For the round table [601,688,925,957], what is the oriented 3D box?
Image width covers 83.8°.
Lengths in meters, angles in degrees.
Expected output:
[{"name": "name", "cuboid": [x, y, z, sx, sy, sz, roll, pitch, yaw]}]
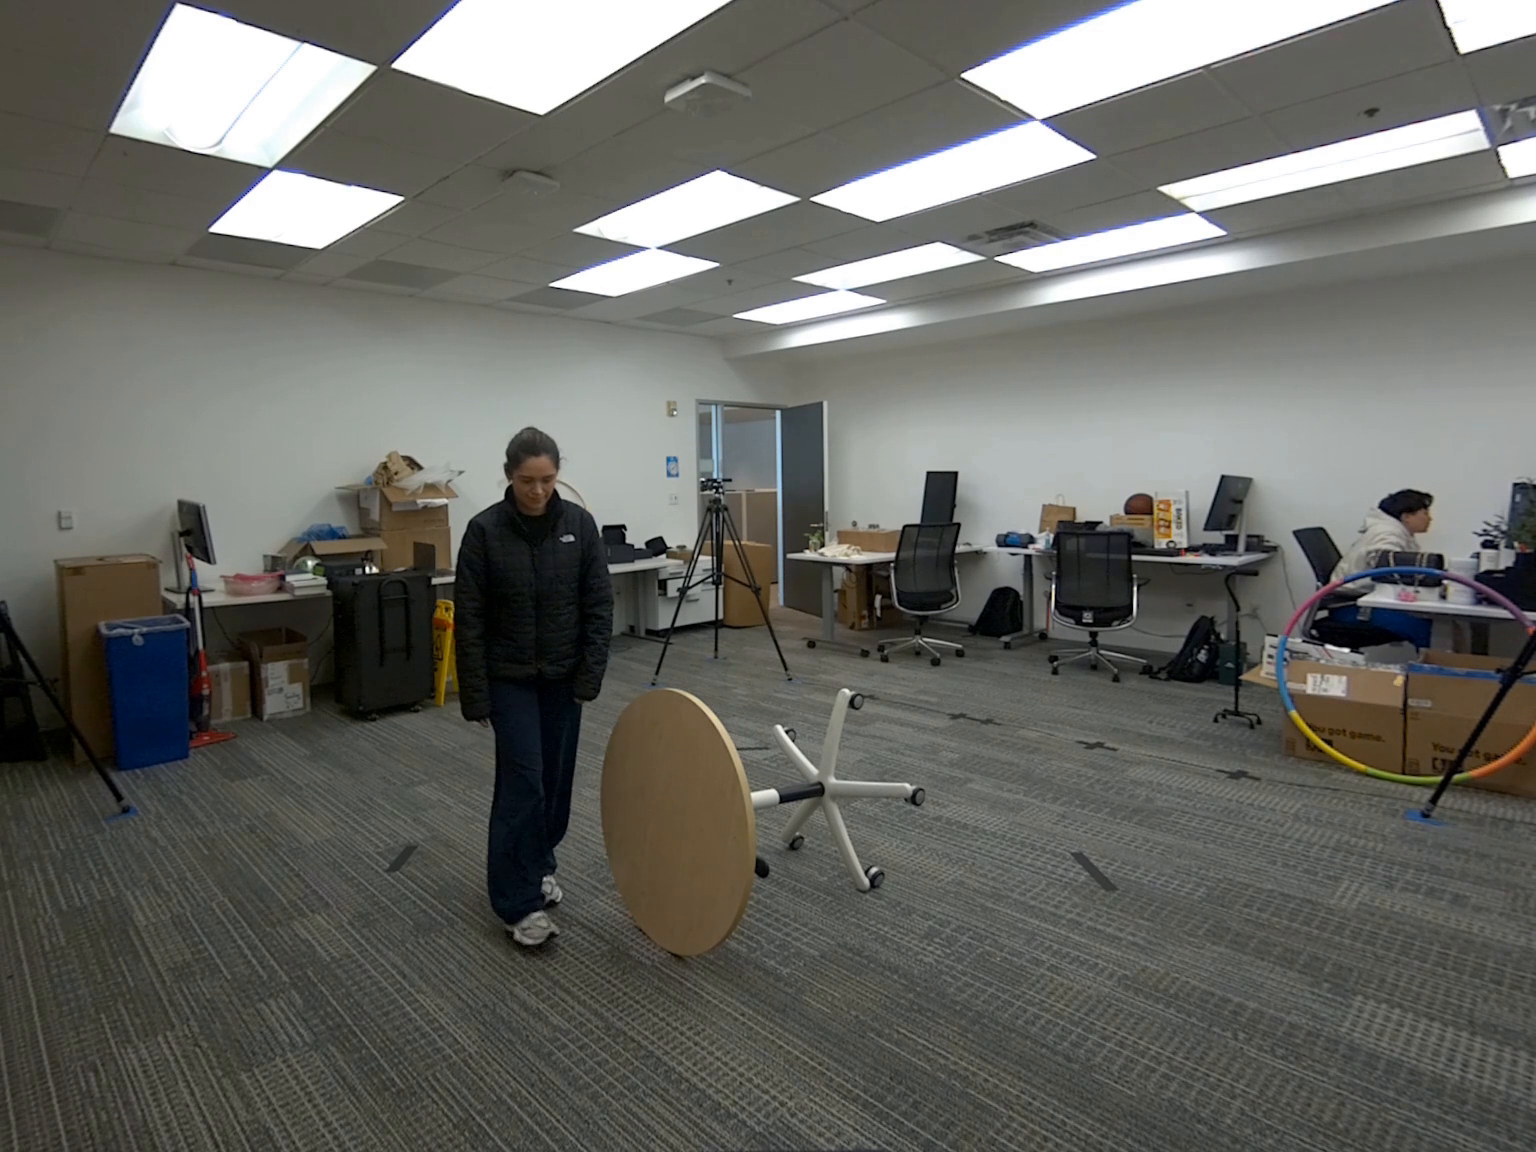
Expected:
[{"name": "round table", "cuboid": [-0.004, 0.738, 2.826, 0.763, 0.784, 0.809, 1, 2, -40]}]
